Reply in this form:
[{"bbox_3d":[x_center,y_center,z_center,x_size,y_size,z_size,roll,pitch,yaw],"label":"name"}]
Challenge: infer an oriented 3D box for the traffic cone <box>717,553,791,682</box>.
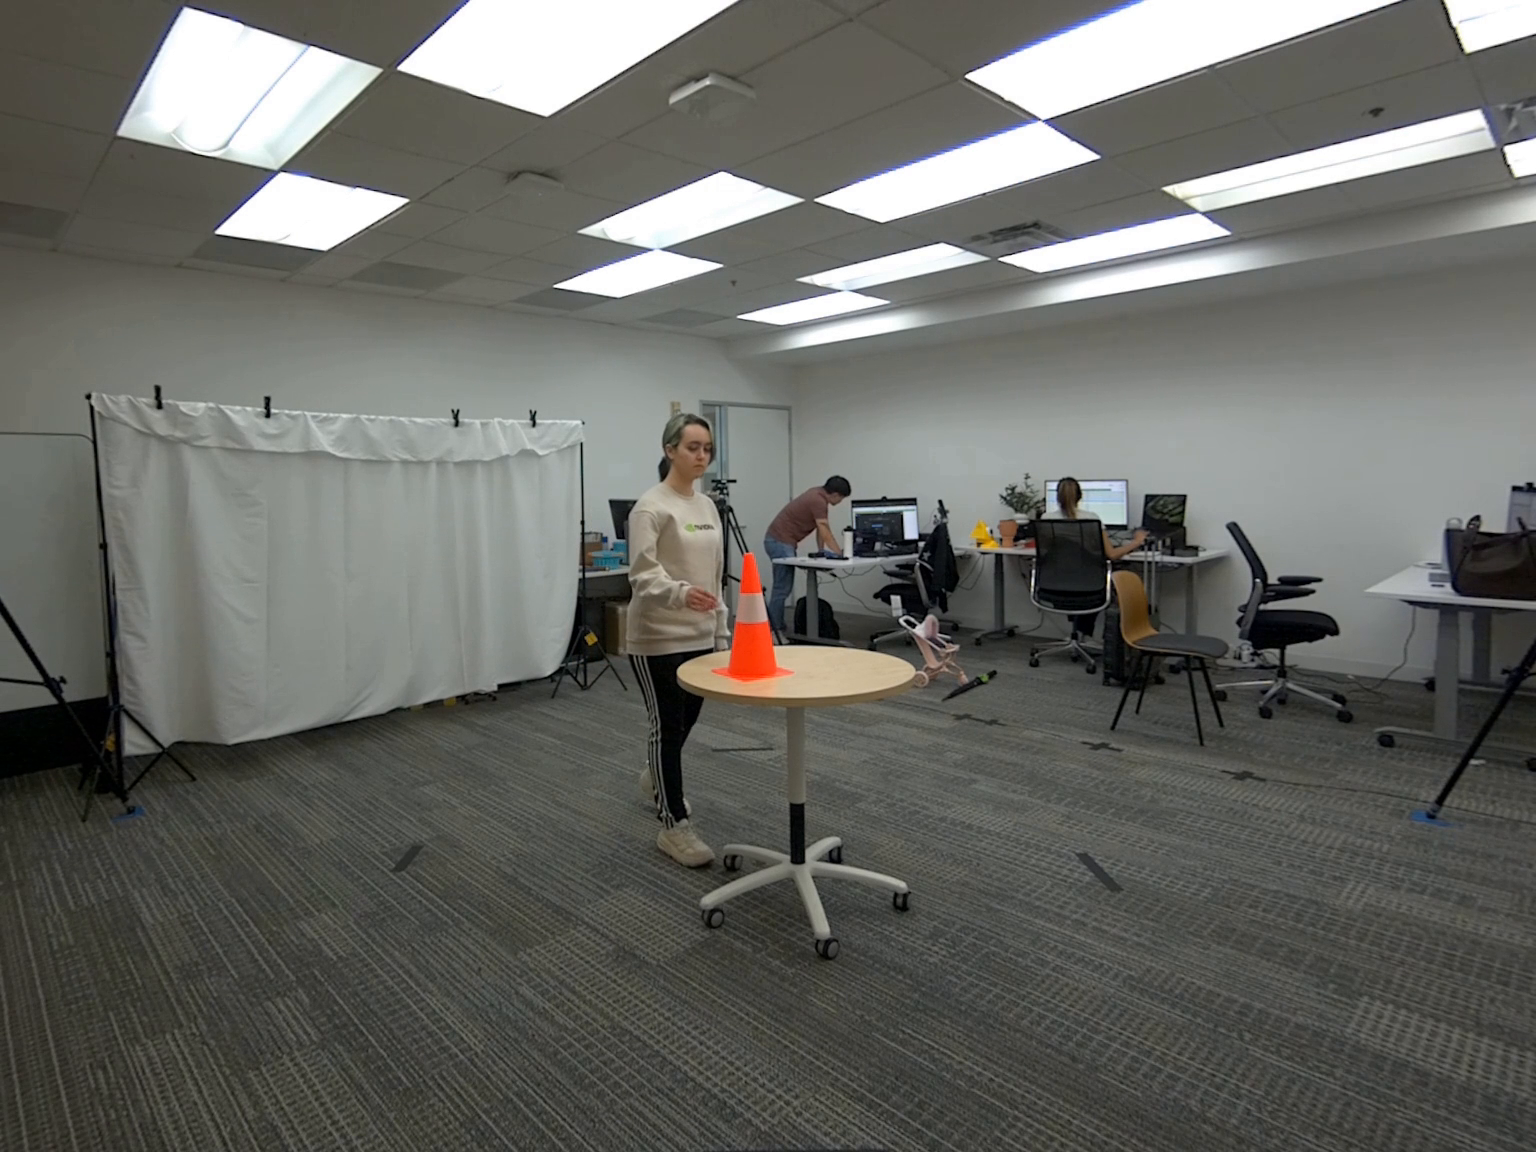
[{"bbox_3d":[-0.057,0.121,2.713,0.200,0.382,0.209,-6,6,-41],"label":"traffic cone"}]
